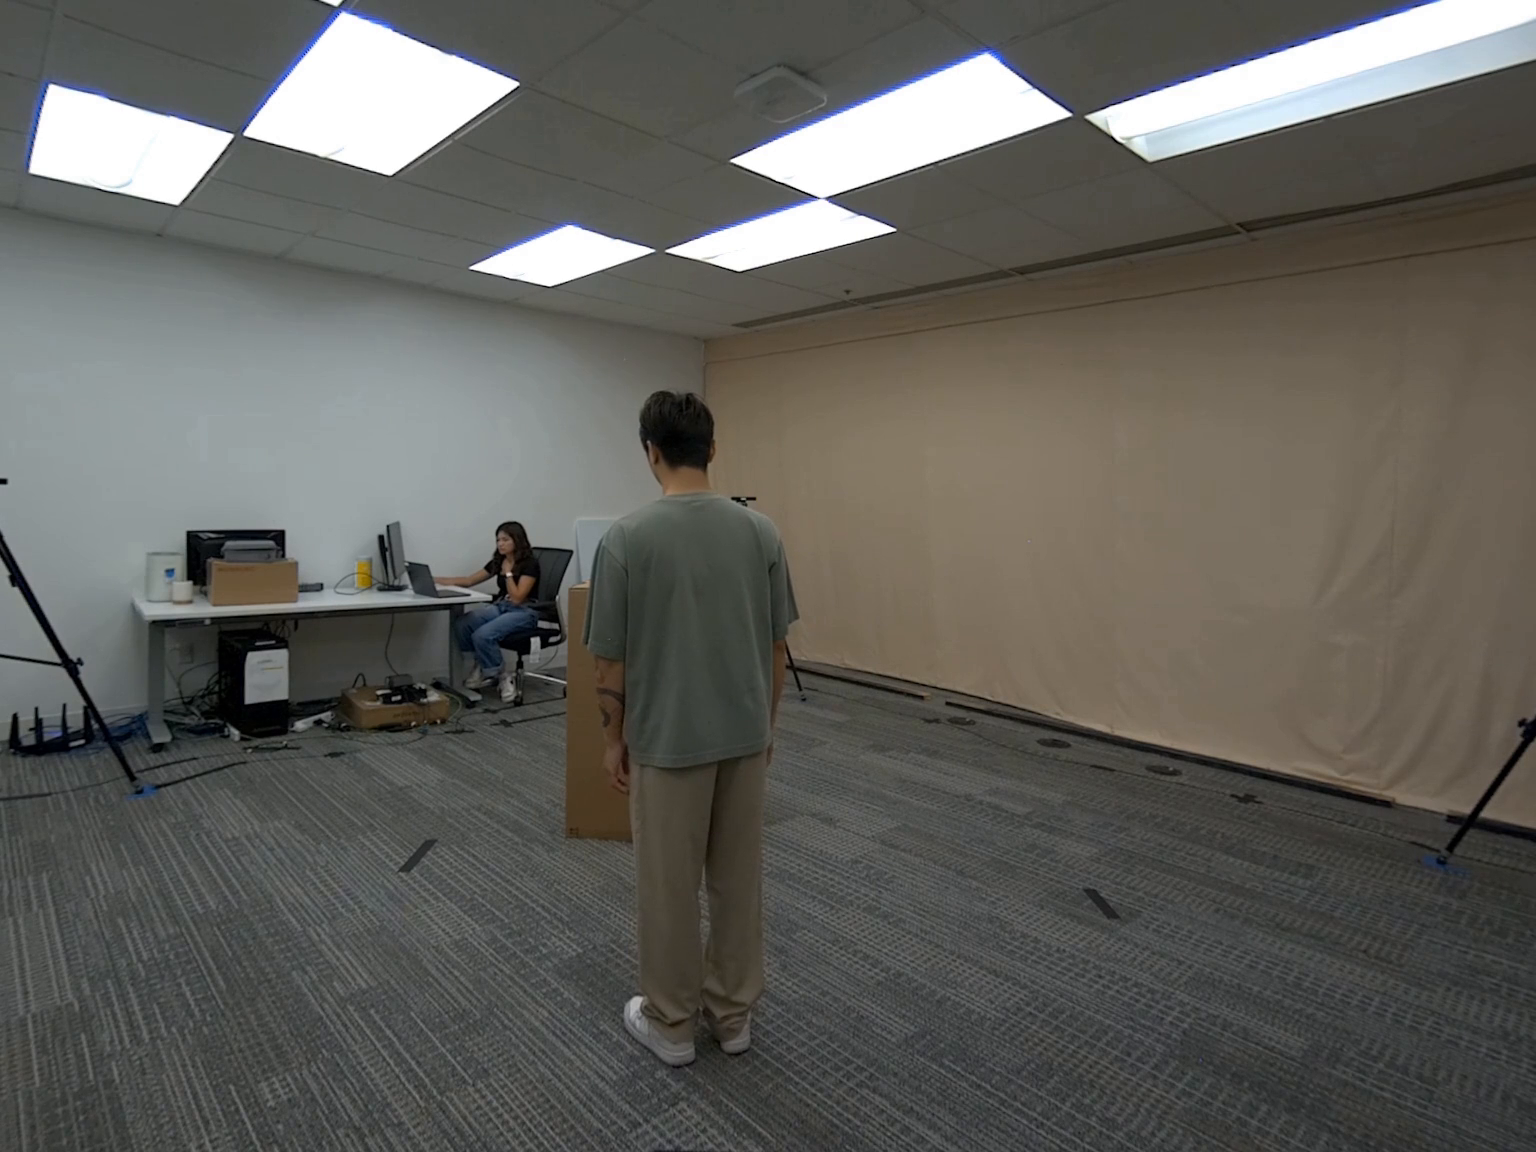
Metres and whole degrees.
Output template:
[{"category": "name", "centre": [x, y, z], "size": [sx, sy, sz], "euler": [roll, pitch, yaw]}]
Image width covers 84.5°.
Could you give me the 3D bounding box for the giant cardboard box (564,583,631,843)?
[{"category": "giant cardboard box", "centre": [-0.596, 0.538, 3.661], "size": [0.428, 1.023, 0.576], "euler": [2, 4, 5]}]
